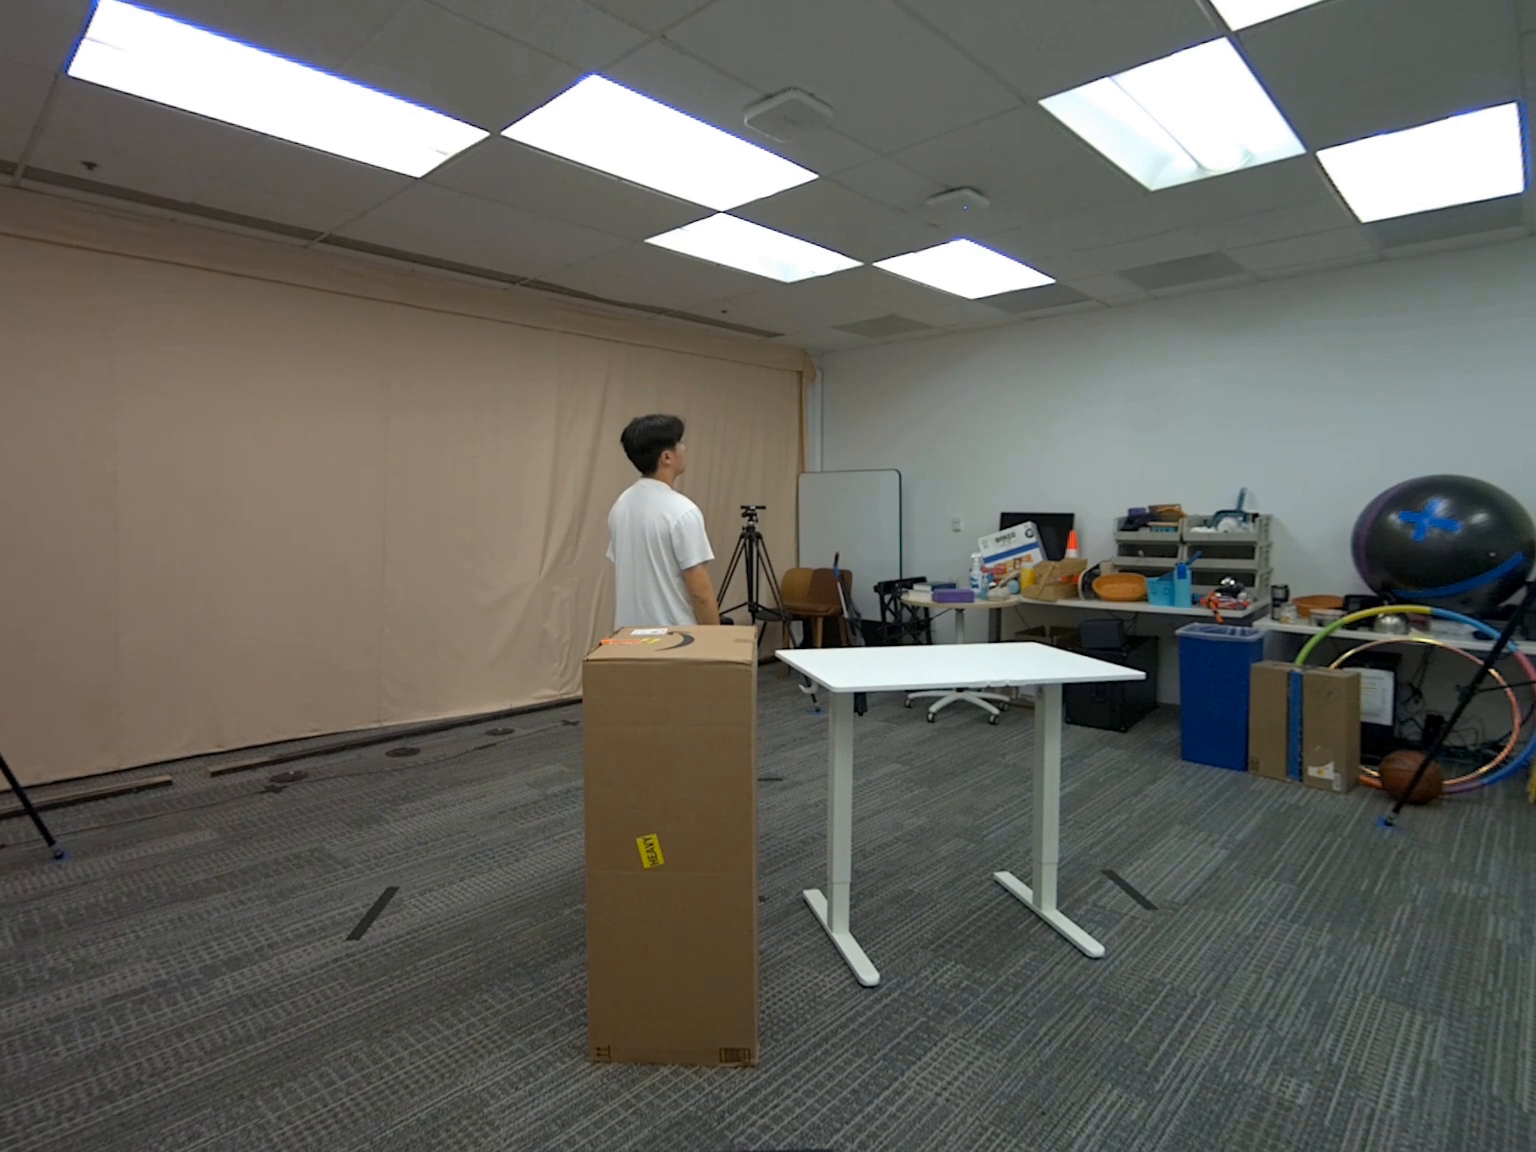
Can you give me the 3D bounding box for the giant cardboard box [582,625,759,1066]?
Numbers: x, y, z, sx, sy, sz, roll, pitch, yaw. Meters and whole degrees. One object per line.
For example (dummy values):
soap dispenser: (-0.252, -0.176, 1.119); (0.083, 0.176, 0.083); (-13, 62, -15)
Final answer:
giant cardboard box: (-0.244, 0.691, 2.350); (0.427, 1.024, 0.577); (0, 3, 2)
